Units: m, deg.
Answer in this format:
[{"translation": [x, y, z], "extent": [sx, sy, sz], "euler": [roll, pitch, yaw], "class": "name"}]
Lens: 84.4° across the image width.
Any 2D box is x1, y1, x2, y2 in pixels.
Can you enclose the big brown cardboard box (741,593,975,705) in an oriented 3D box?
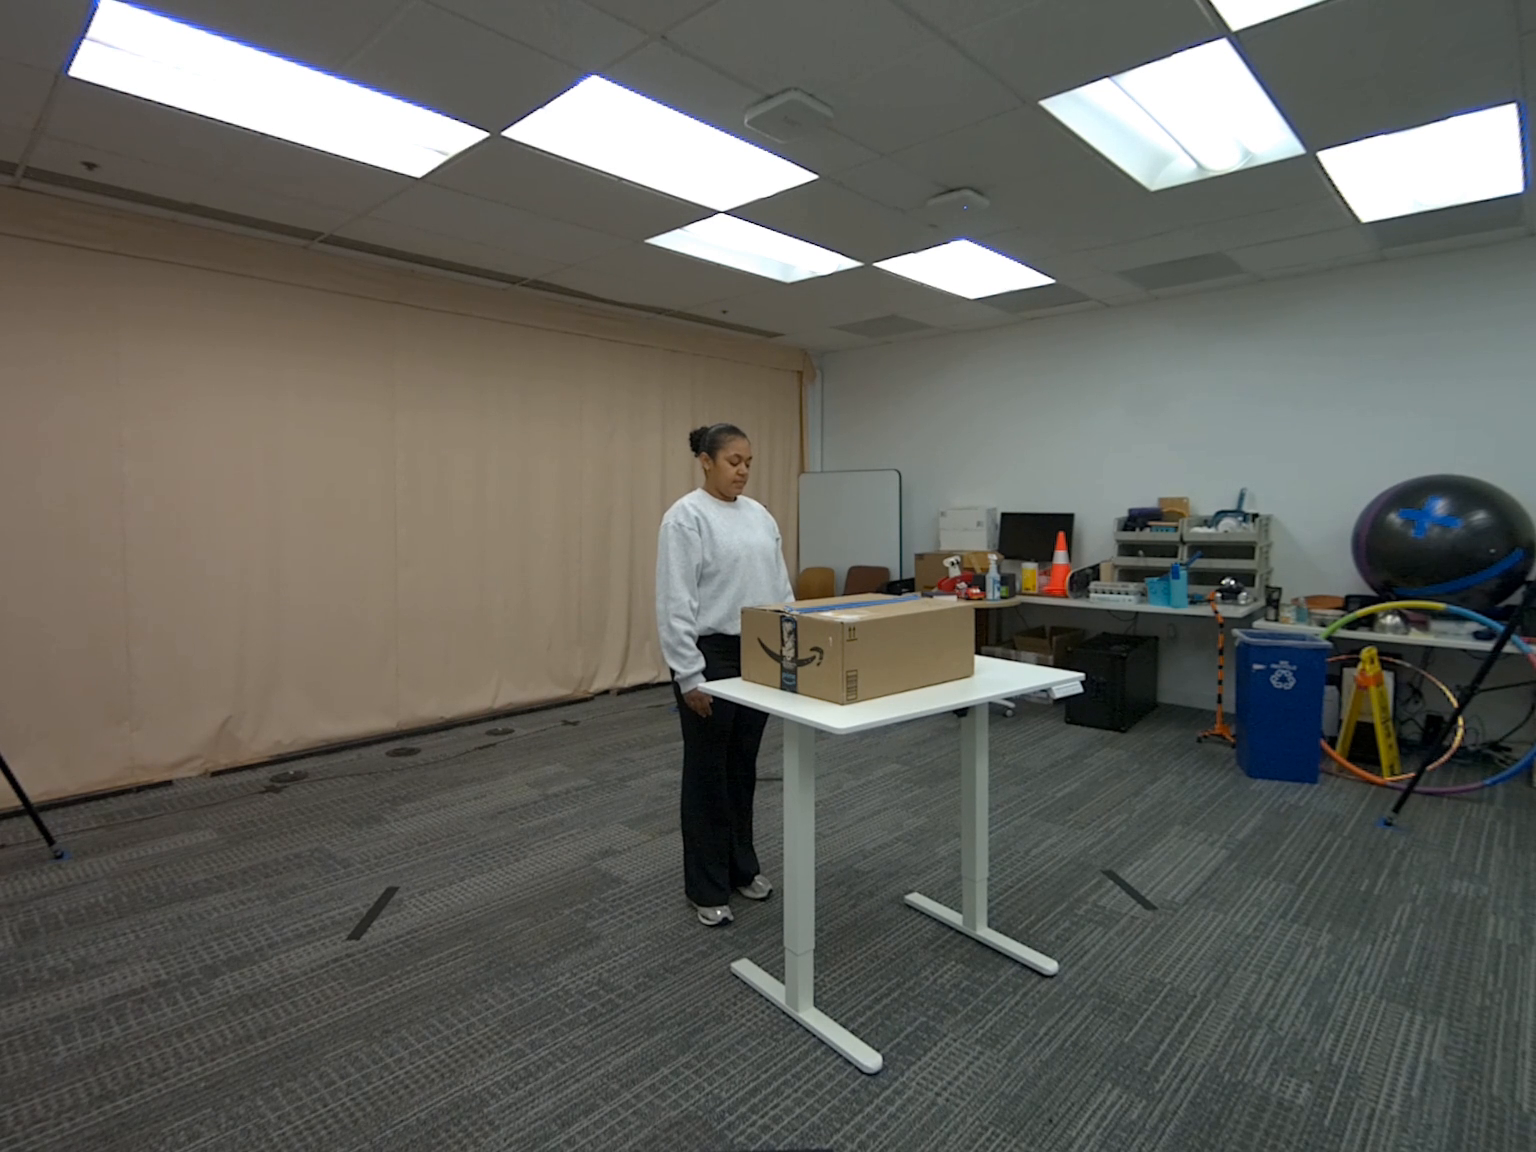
[{"translation": [0.261, 0.193, 2.482], "extent": [0.571, 0.232, 0.431], "euler": [-3, 5, -40], "class": "big brown cardboard box"}]
